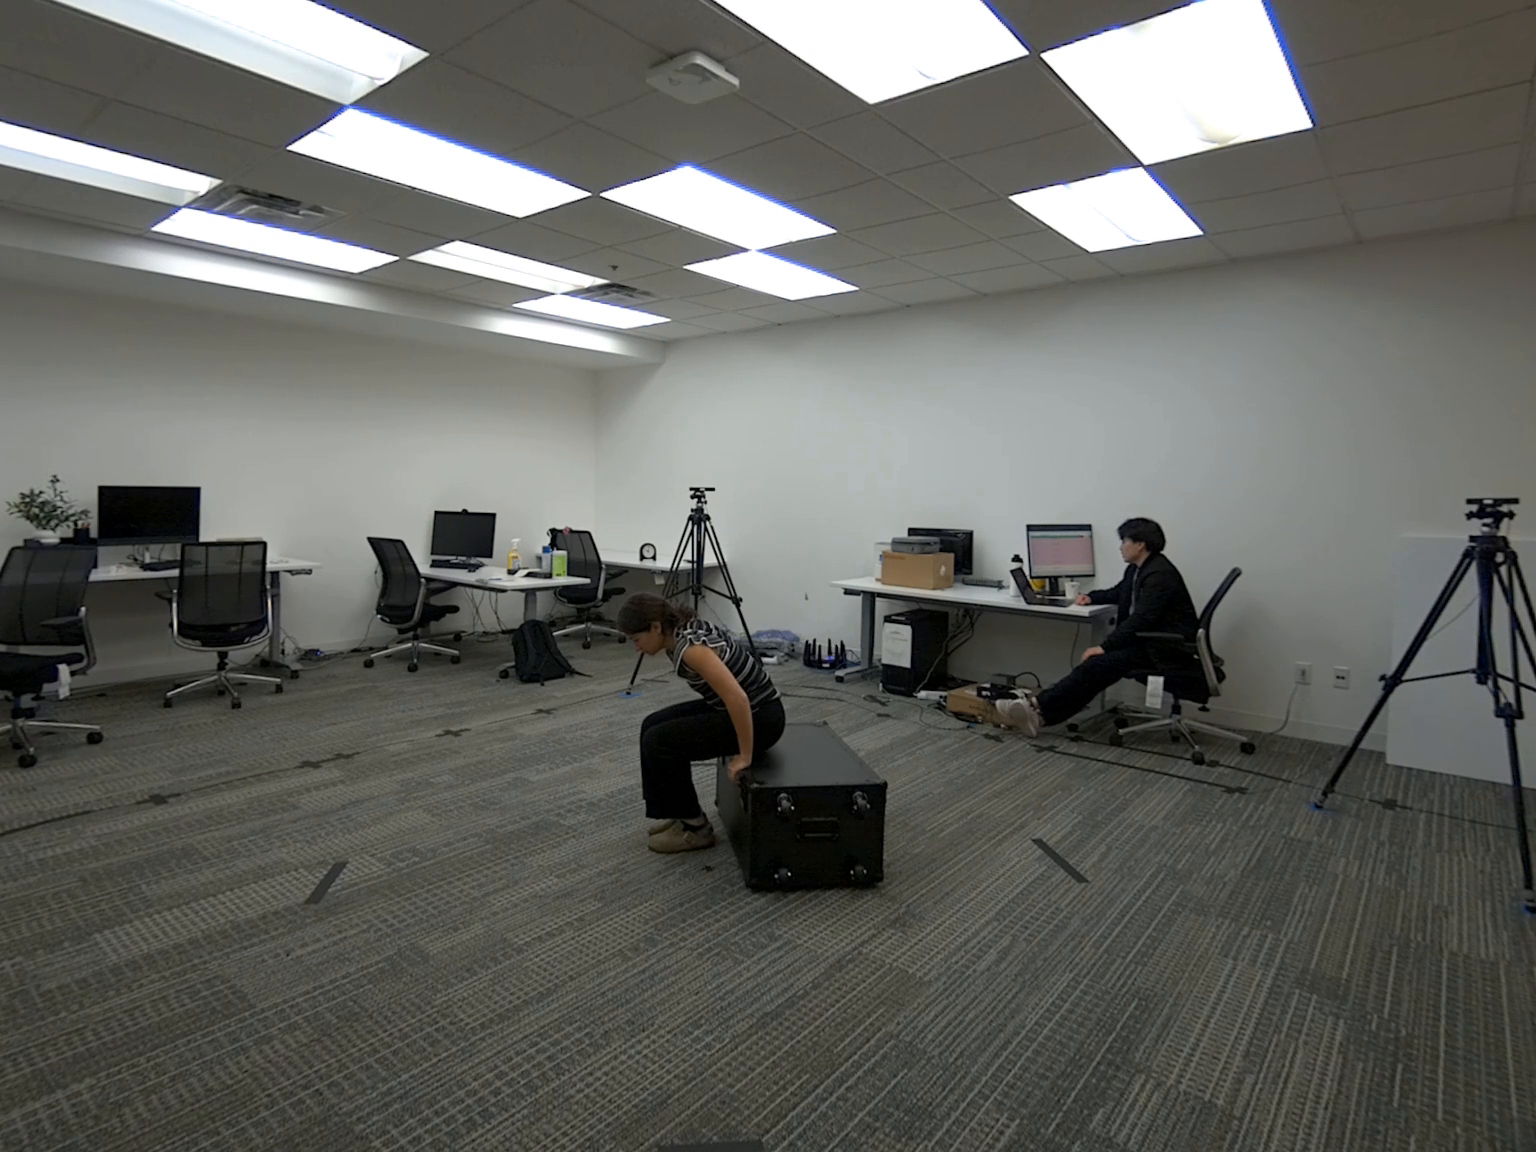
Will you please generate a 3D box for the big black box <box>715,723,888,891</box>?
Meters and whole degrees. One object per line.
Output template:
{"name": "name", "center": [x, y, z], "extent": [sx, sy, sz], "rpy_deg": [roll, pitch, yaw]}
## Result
{"name": "big black box", "center": [0.090, 0.862, 3.285], "extent": [0.515, 0.395, 0.875], "rpy_deg": [-1, 5, -12]}
